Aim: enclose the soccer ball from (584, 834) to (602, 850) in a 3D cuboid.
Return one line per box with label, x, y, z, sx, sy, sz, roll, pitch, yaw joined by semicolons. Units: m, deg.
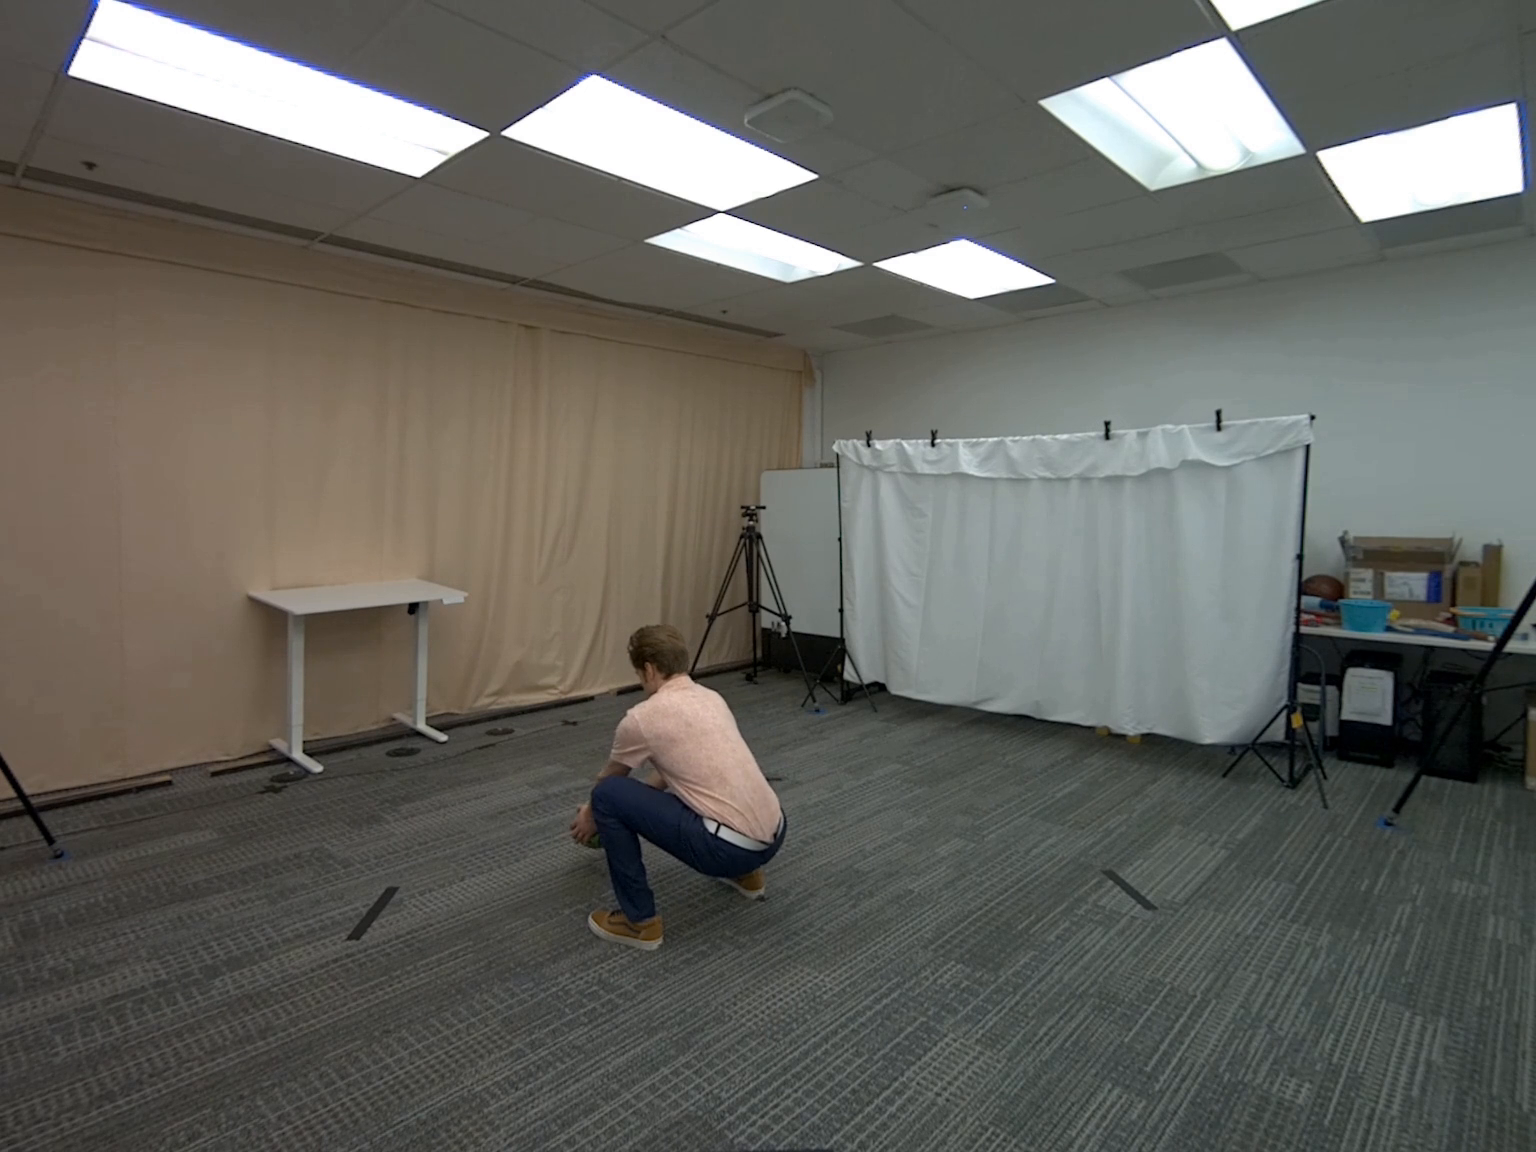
soccer ball;-0.660;0.957;3.259;0.187;0.187;0.188;0;4;-2
